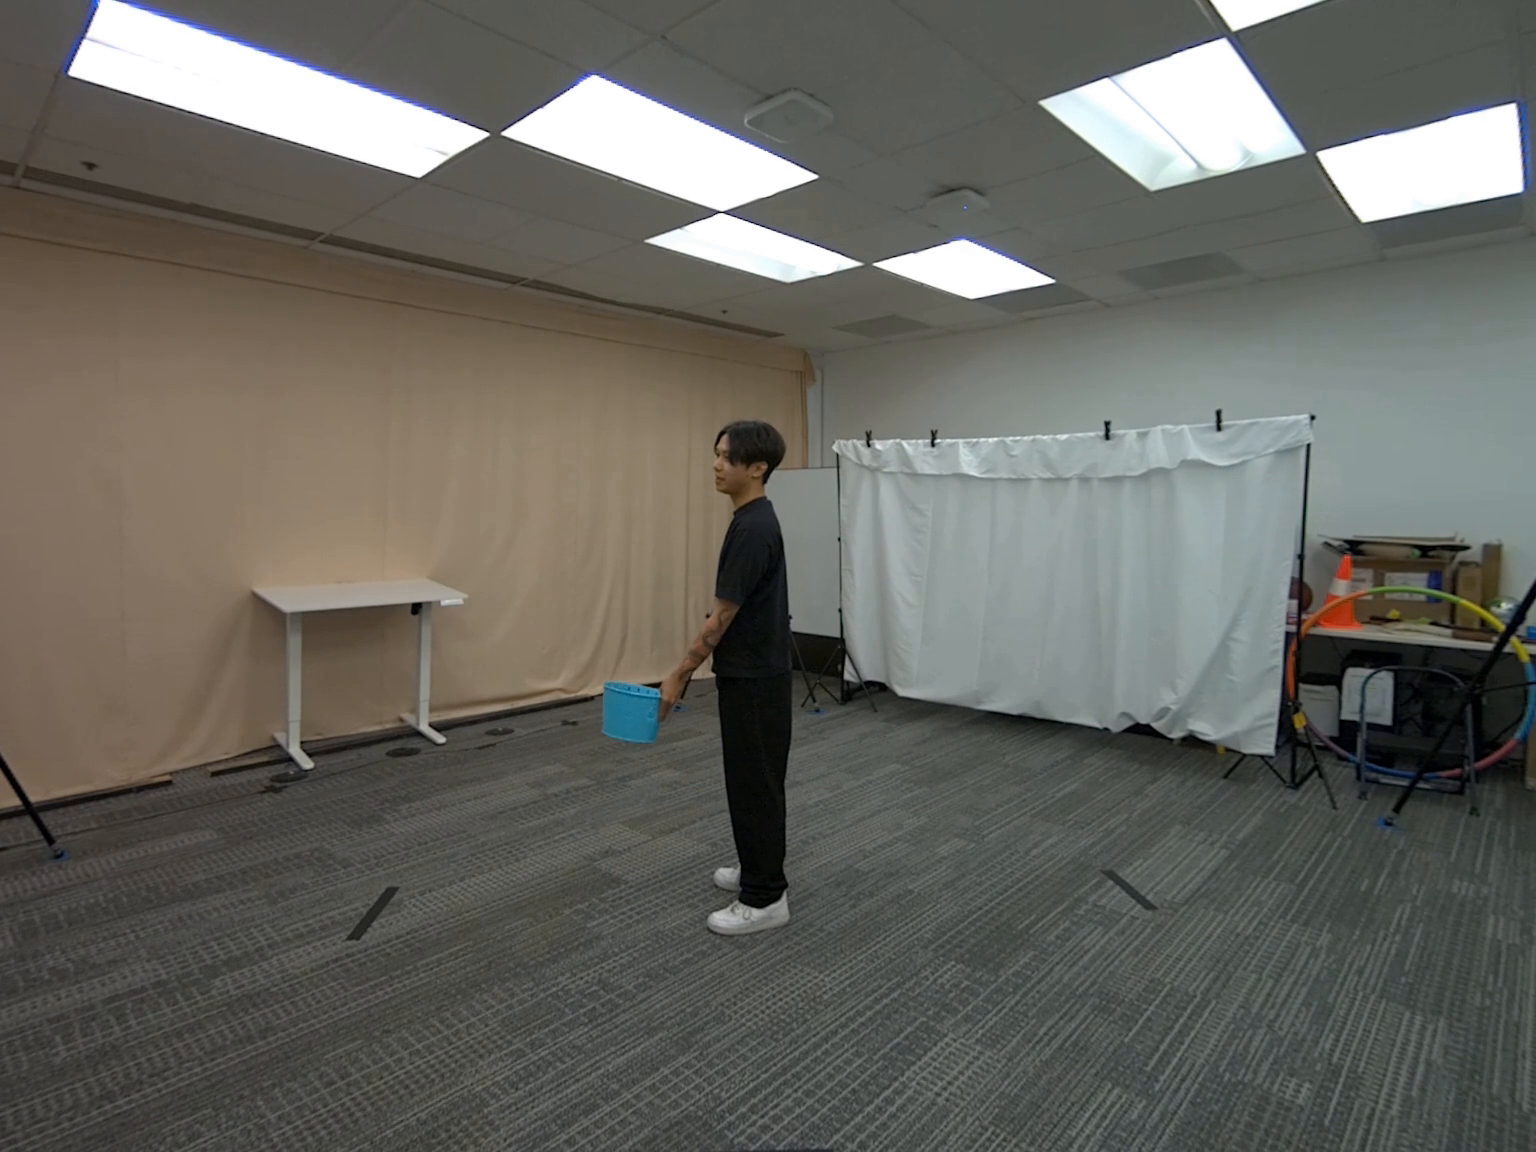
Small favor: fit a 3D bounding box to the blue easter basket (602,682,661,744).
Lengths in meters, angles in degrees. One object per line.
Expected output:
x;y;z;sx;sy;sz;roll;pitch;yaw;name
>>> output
-0.425;0.456;2.759;0.243;0.156;0.243;9;-1;-2;blue easter basket
